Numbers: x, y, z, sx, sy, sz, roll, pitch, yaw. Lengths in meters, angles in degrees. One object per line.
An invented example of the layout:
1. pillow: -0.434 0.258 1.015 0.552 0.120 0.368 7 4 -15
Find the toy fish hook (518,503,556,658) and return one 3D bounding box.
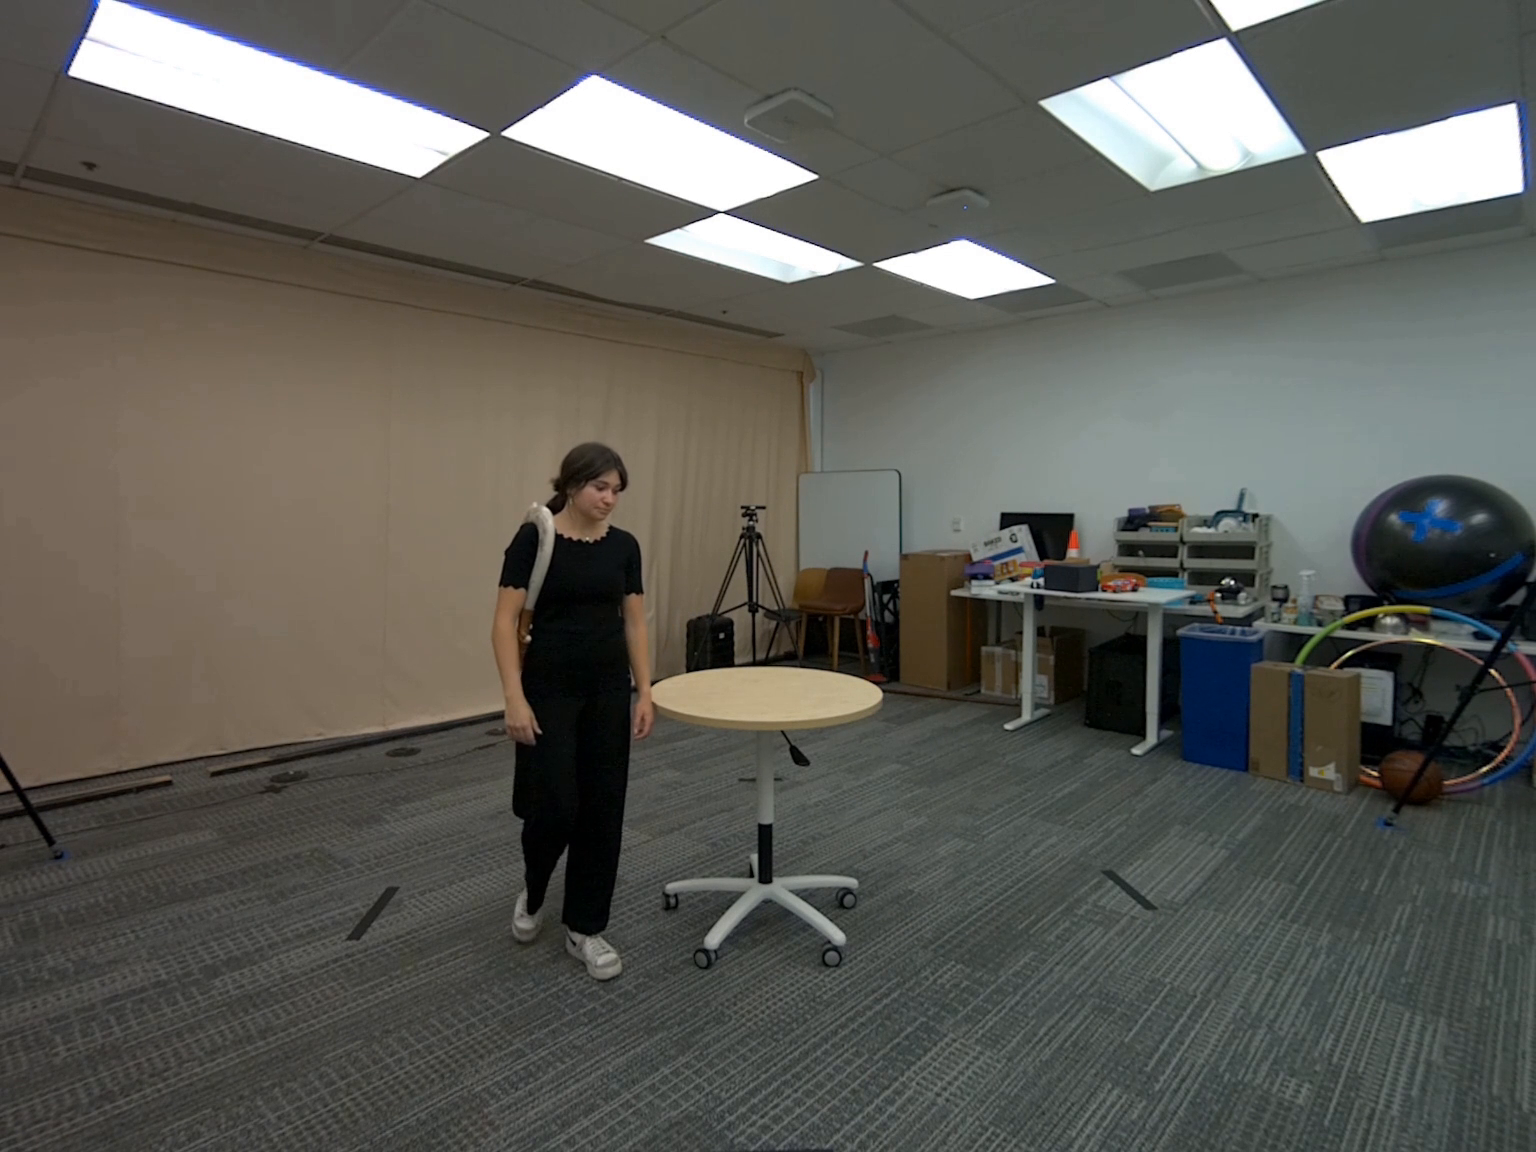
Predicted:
1. toy fish hook: -0.736 0.034 2.573 0.047 0.505 0.232 10 6 -35
